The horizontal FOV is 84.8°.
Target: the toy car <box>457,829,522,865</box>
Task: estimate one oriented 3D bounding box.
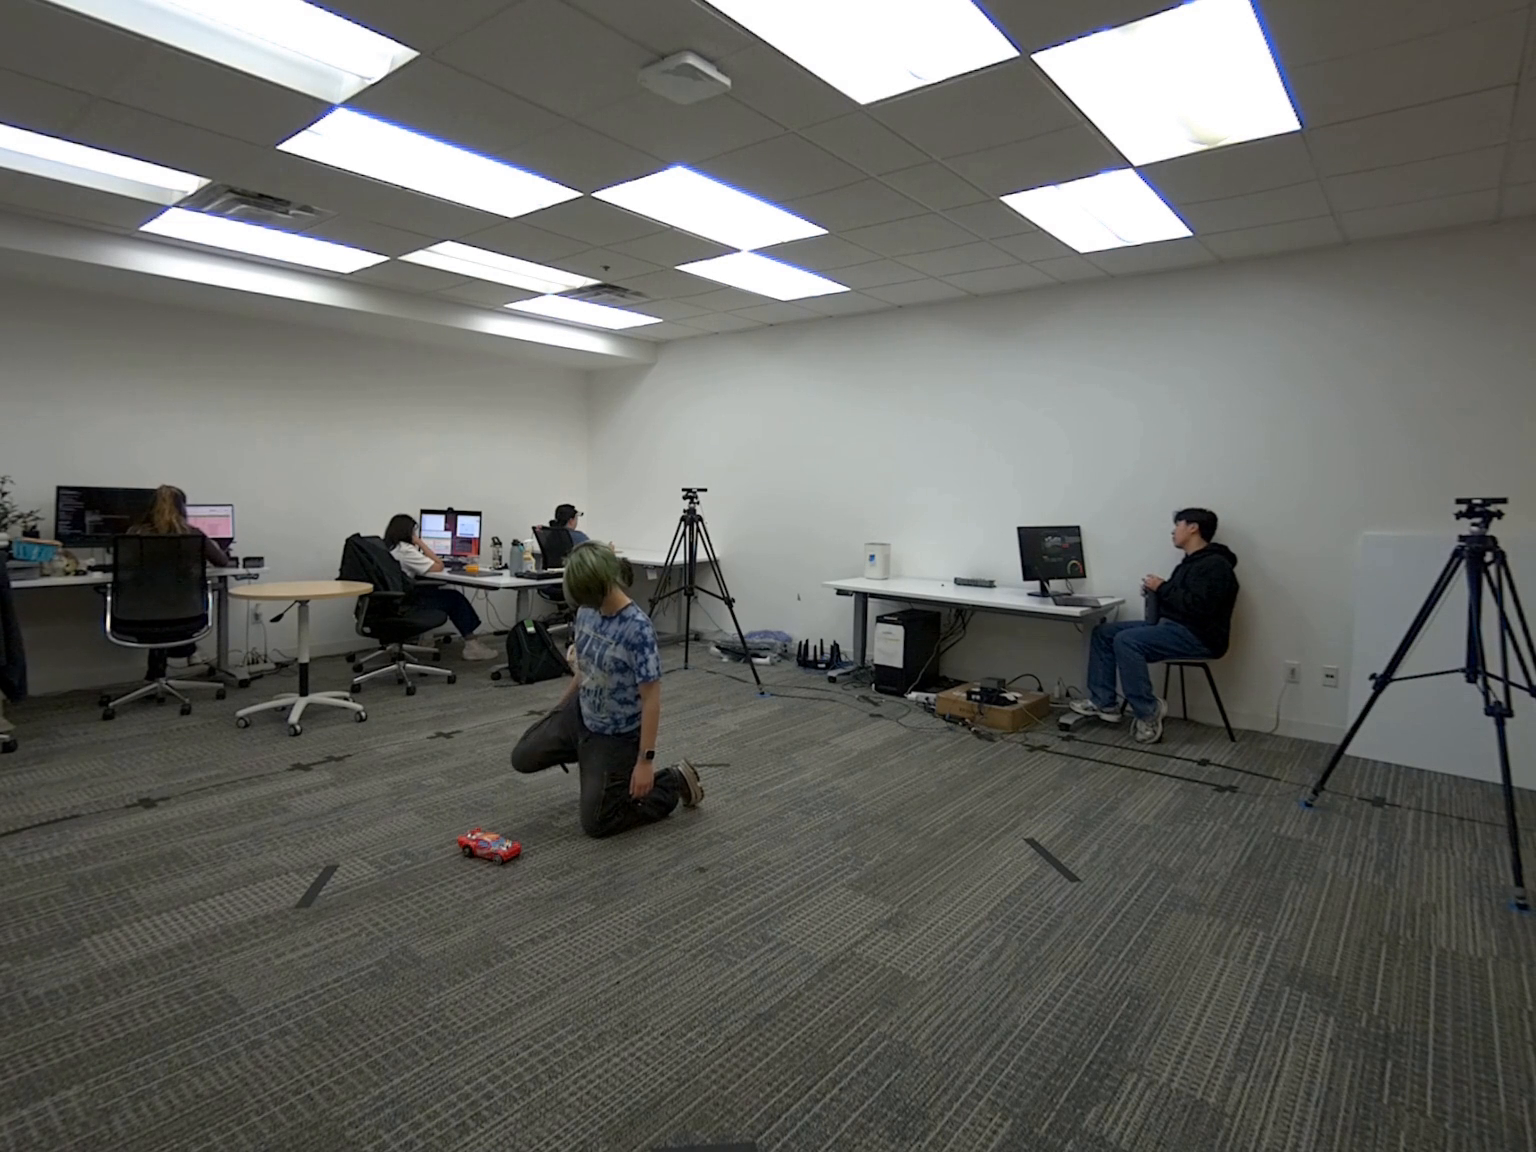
[{"bbox_3d":[-1.072,1.017,3.195,0.262,0.083,0.127,14,10,25],"label":"toy car"}]
